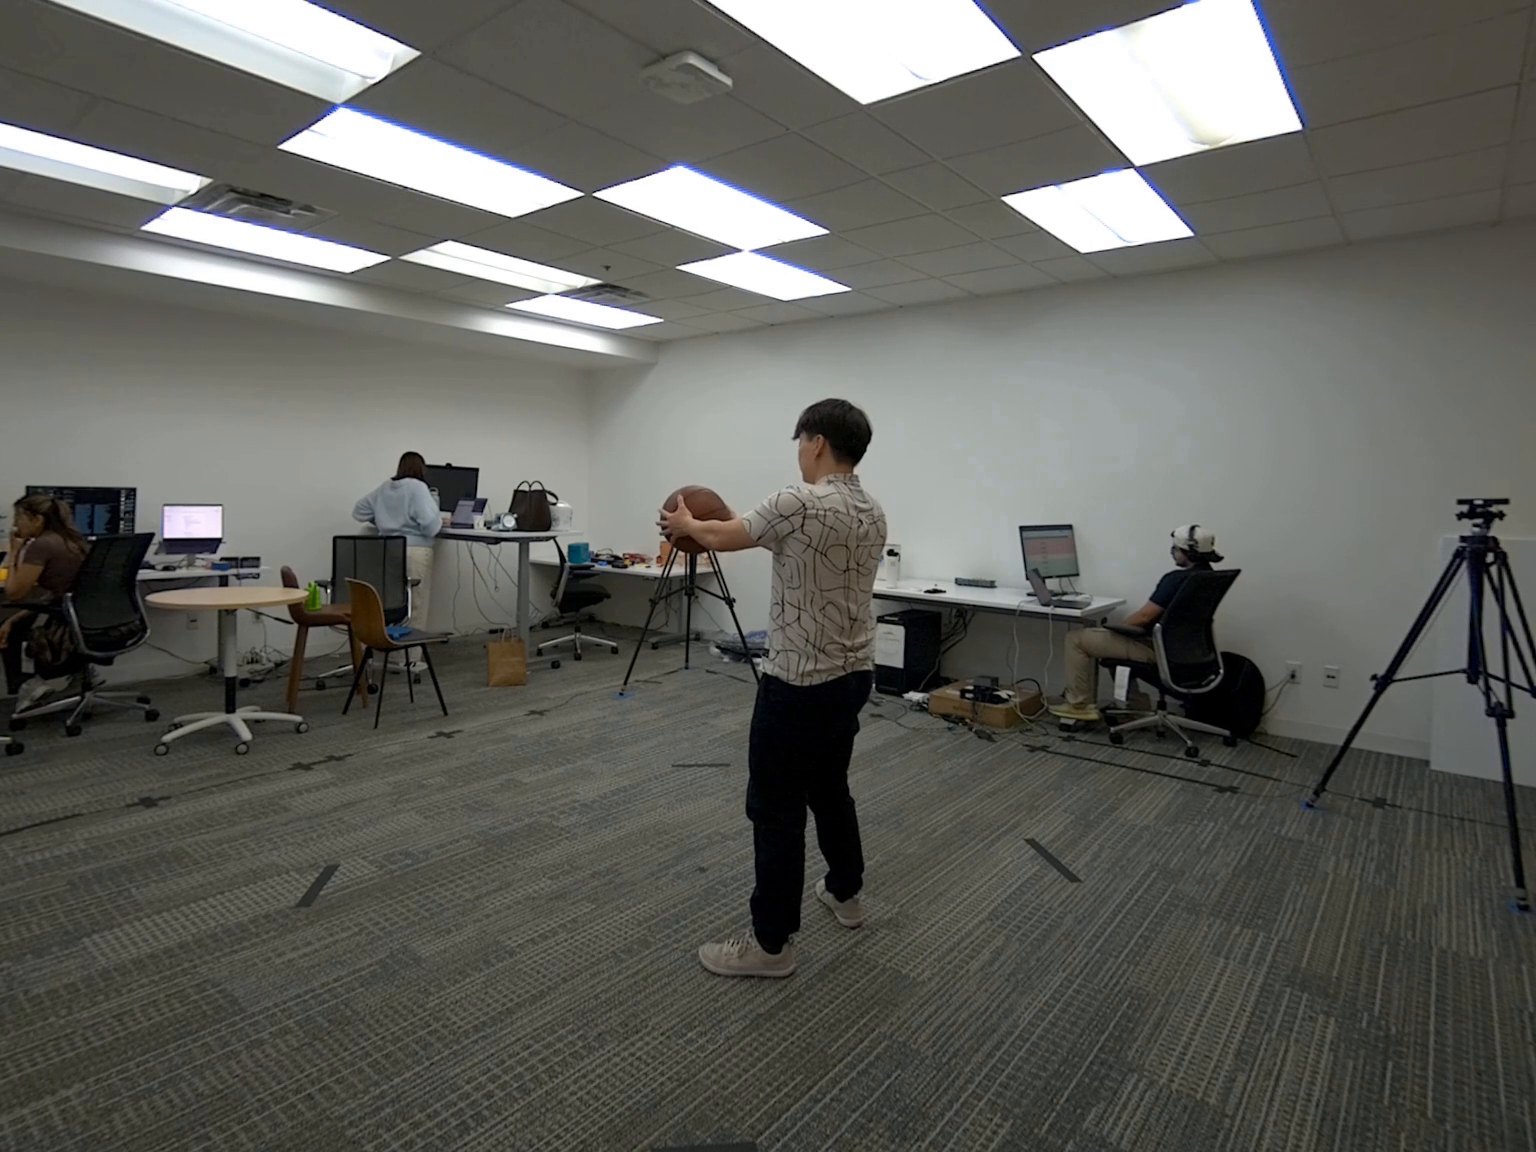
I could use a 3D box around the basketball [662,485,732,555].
[{"bbox_3d":[-0.263,-0.197,2.955,0.235,0.235,0.237,1,4,-2],"label":"basketball"}]
